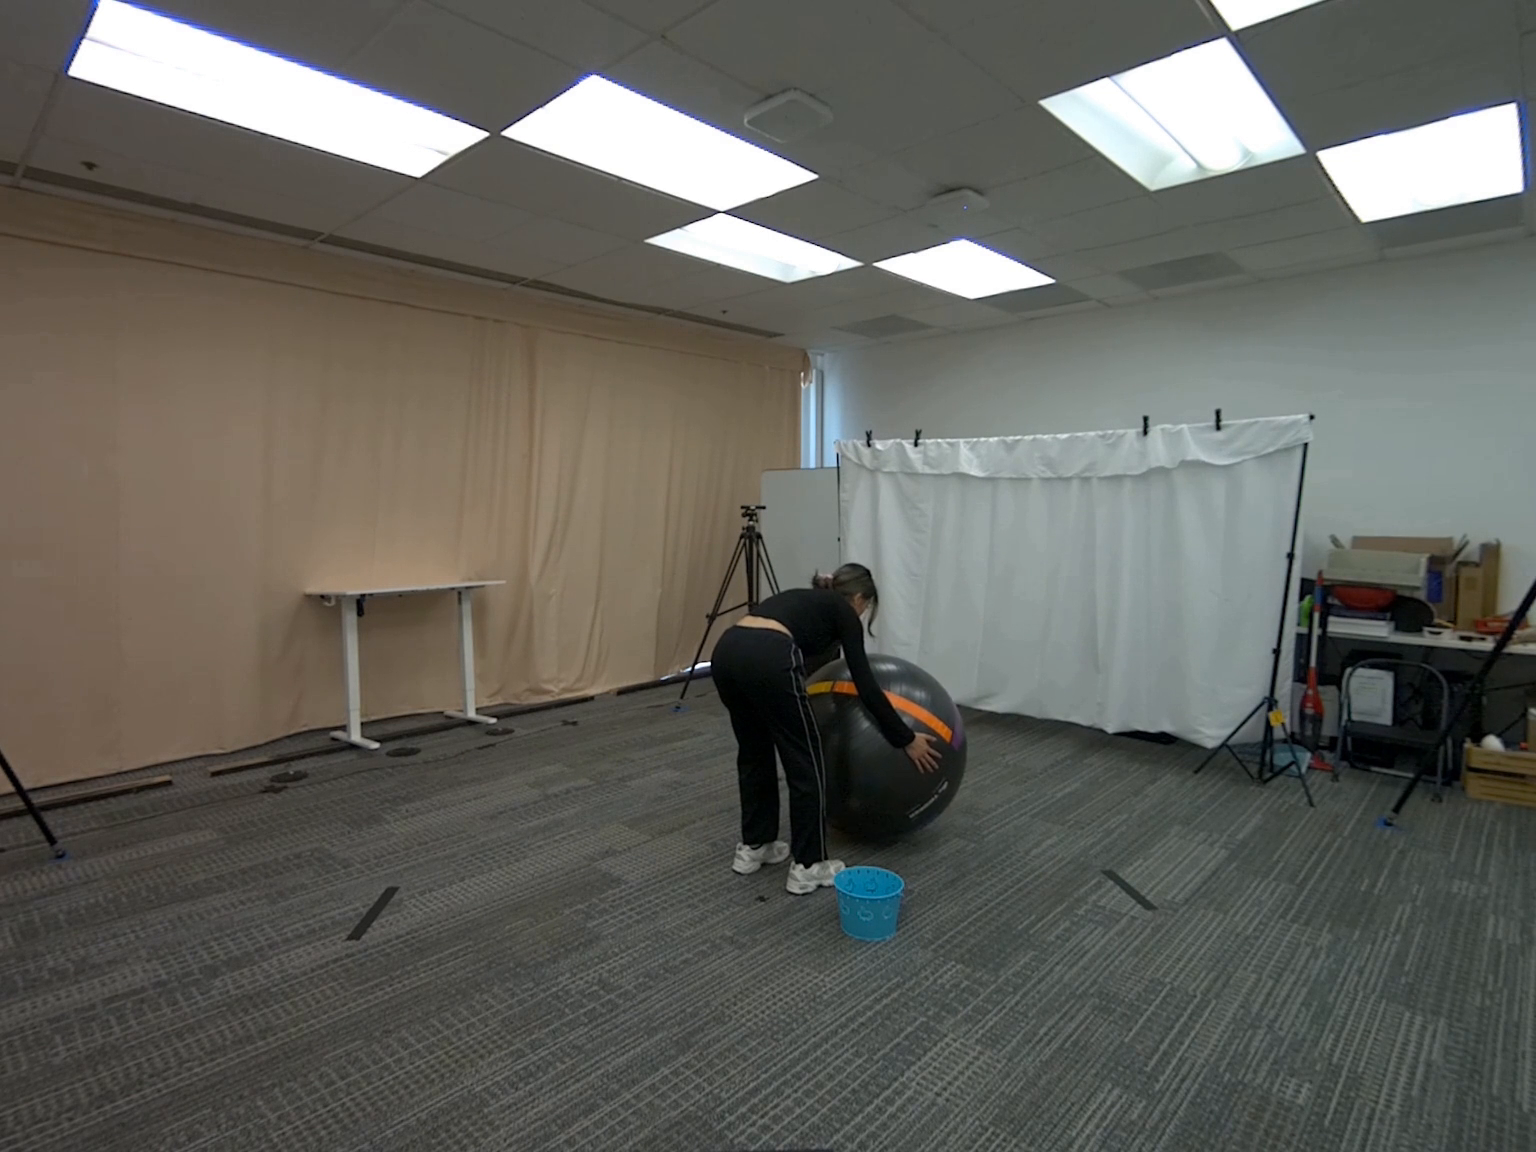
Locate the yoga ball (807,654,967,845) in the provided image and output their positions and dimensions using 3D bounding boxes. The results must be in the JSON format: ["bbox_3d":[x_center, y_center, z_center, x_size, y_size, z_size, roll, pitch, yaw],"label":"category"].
[{"bbox_3d":[0.458,0.700,3.554,0.757,0.756,0.760,0,4,-2],"label":"yoga ball"}]
